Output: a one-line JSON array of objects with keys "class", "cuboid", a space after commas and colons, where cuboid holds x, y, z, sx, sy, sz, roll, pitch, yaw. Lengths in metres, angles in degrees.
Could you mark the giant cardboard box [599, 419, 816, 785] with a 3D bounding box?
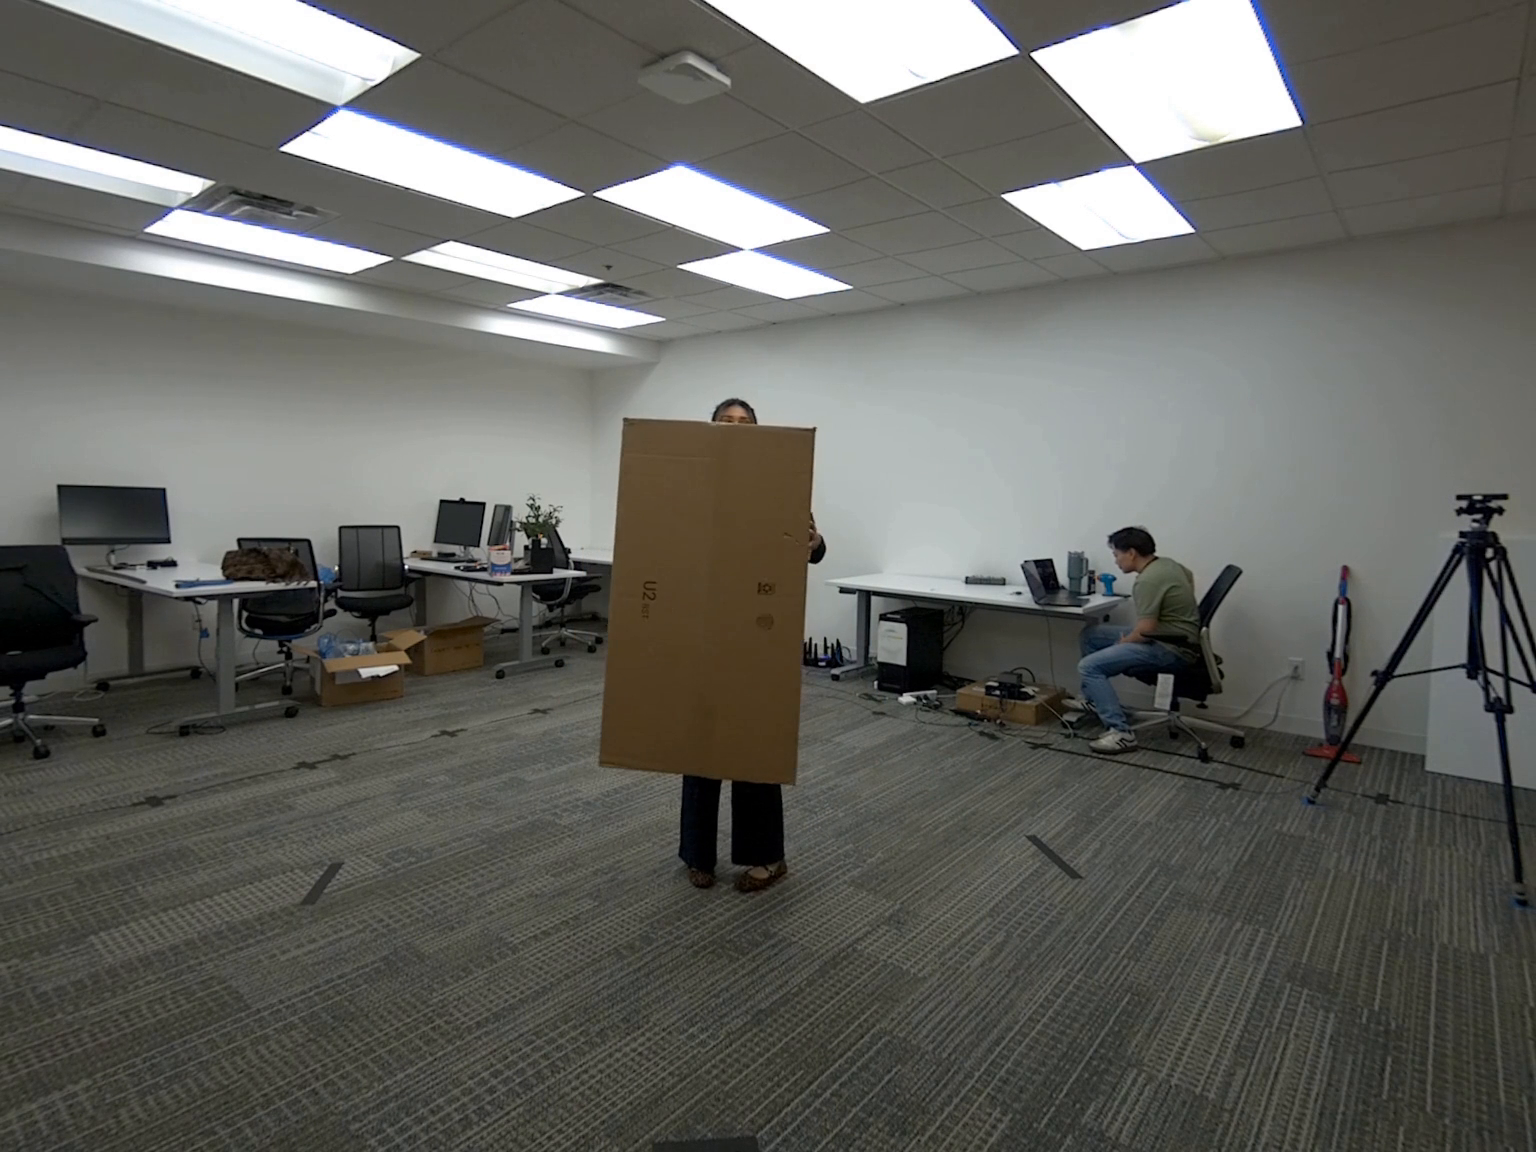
[{"class": "giant cardboard box", "cuboid": [-0.168, 0.063, 2.667, 0.580, 1.028, 0.424, 4, -3, 2]}]
